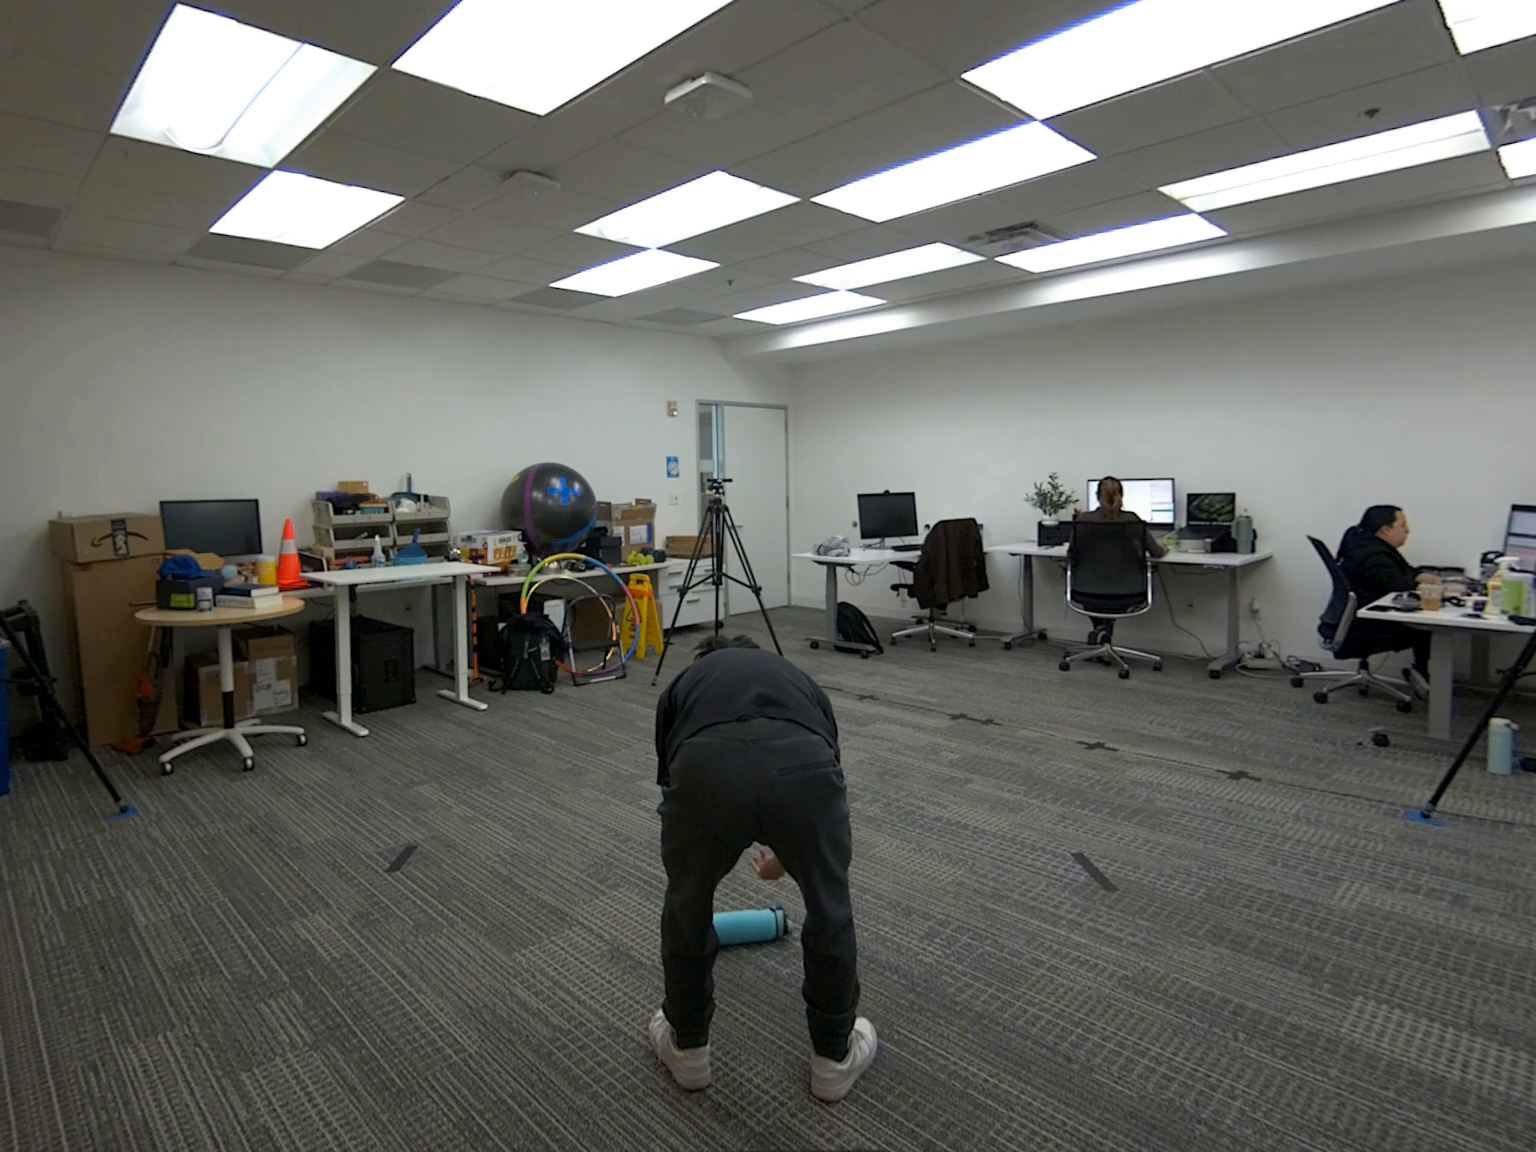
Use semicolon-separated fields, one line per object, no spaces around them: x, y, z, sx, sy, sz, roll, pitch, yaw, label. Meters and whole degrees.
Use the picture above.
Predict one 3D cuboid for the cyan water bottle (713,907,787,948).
-0.064;1.058;2.583;0.280;0.092;0.093;-1;5;-11;cyan water bottle
